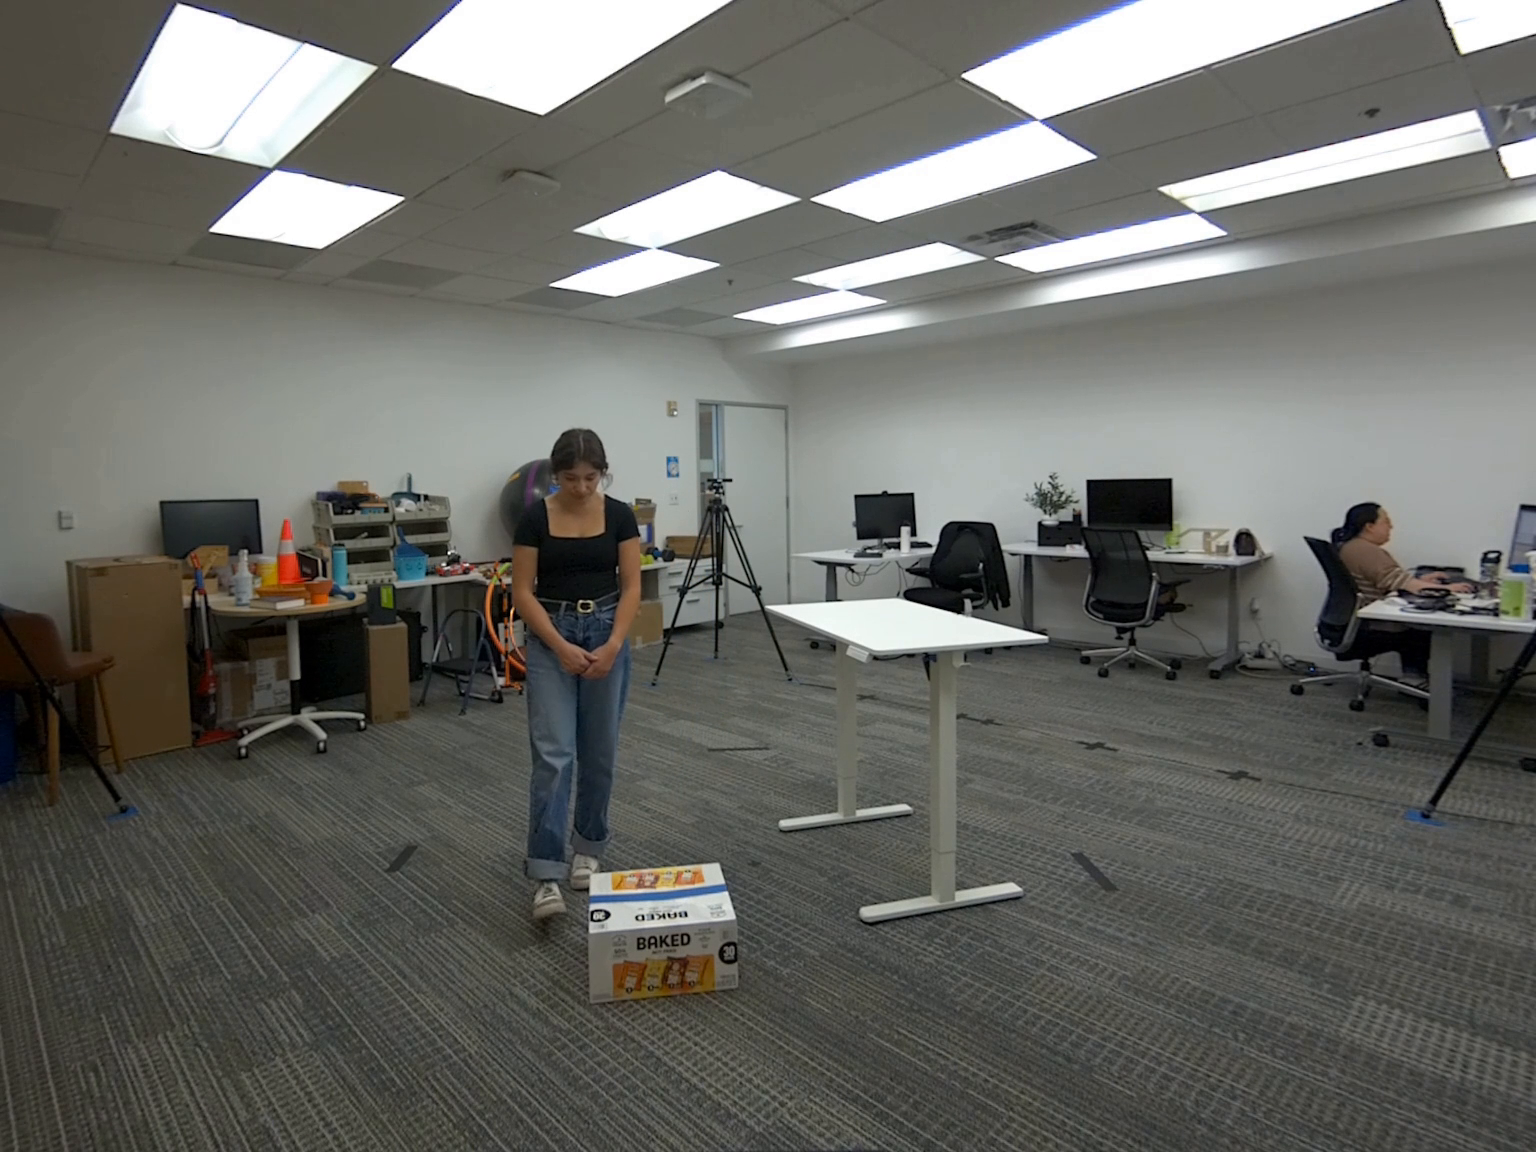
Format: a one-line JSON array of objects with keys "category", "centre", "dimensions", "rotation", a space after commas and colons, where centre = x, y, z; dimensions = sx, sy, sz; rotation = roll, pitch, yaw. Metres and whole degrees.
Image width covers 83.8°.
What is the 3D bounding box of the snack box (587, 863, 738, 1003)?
[{"category": "snack box", "centre": [-0.307, 1.025, 2.469], "dimensions": [0.402, 0.205, 0.345], "rotation": [-2, 6, -9]}]
